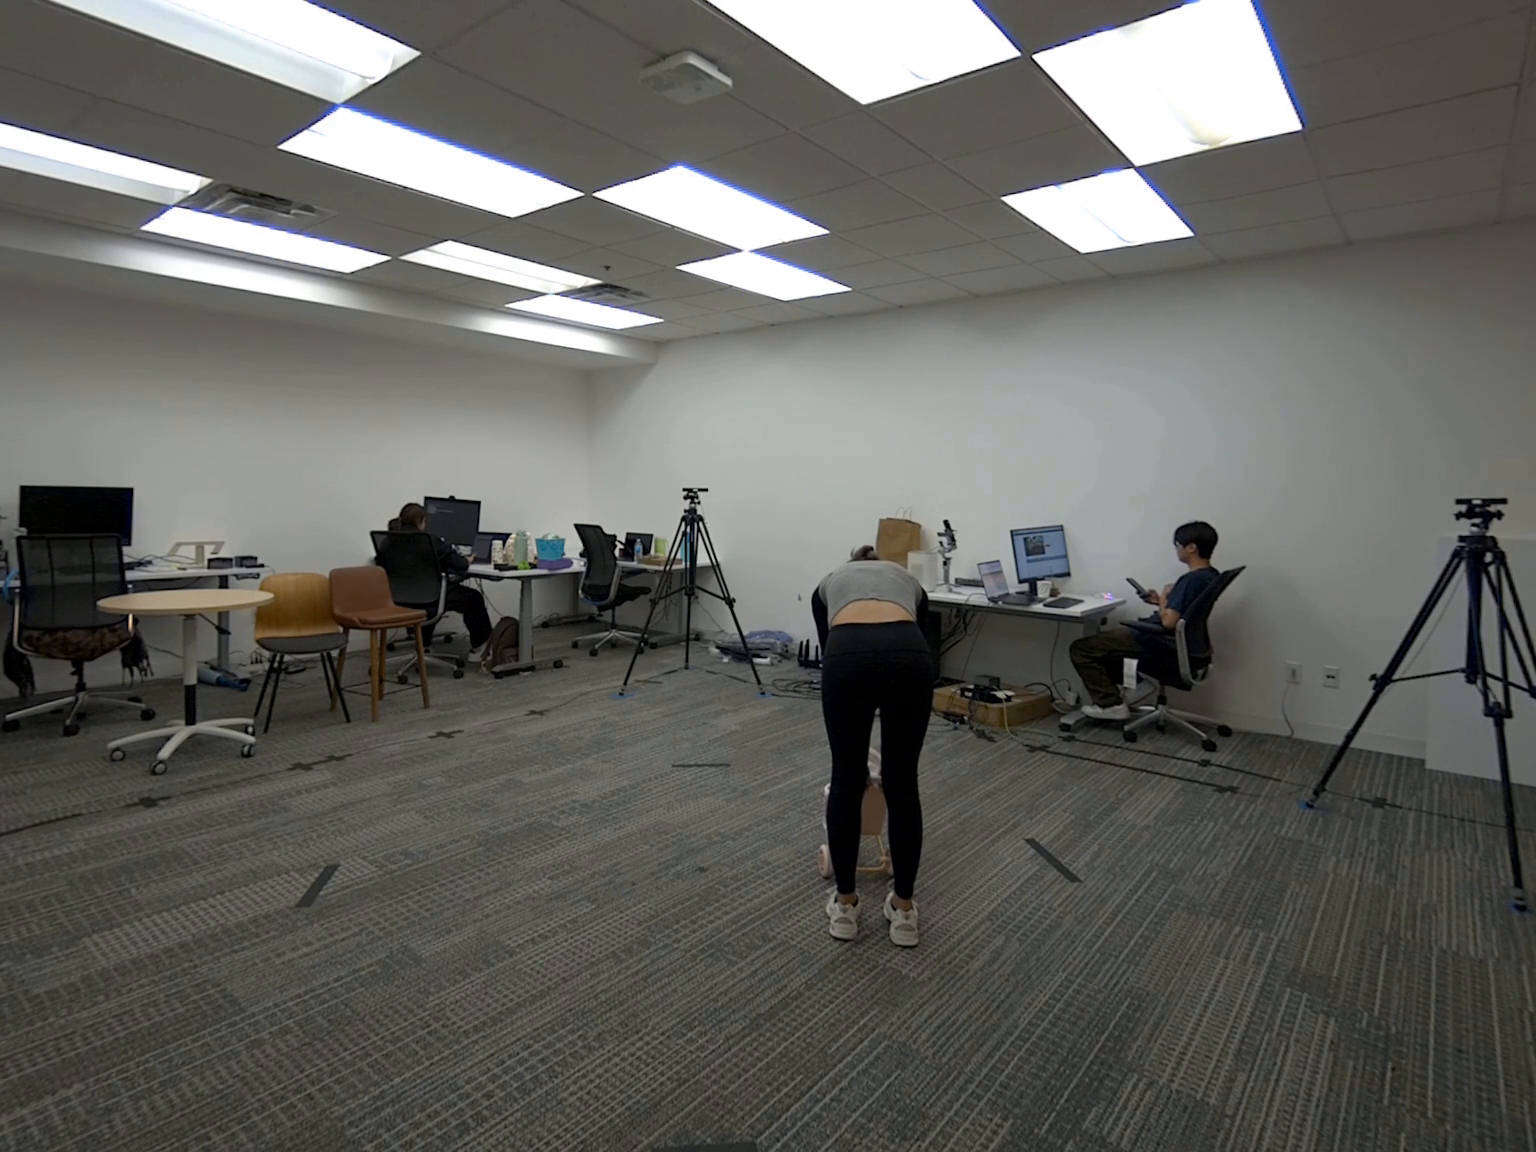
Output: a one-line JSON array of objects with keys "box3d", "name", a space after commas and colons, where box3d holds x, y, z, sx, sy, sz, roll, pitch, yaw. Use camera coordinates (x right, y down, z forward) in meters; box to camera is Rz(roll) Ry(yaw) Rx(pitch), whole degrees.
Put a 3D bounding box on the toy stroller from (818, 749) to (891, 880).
[{"box3d": [0.324, 0.854, 3.138, 0.281, 0.526, 0.348, 2, 20, -2], "name": "toy stroller"}]
